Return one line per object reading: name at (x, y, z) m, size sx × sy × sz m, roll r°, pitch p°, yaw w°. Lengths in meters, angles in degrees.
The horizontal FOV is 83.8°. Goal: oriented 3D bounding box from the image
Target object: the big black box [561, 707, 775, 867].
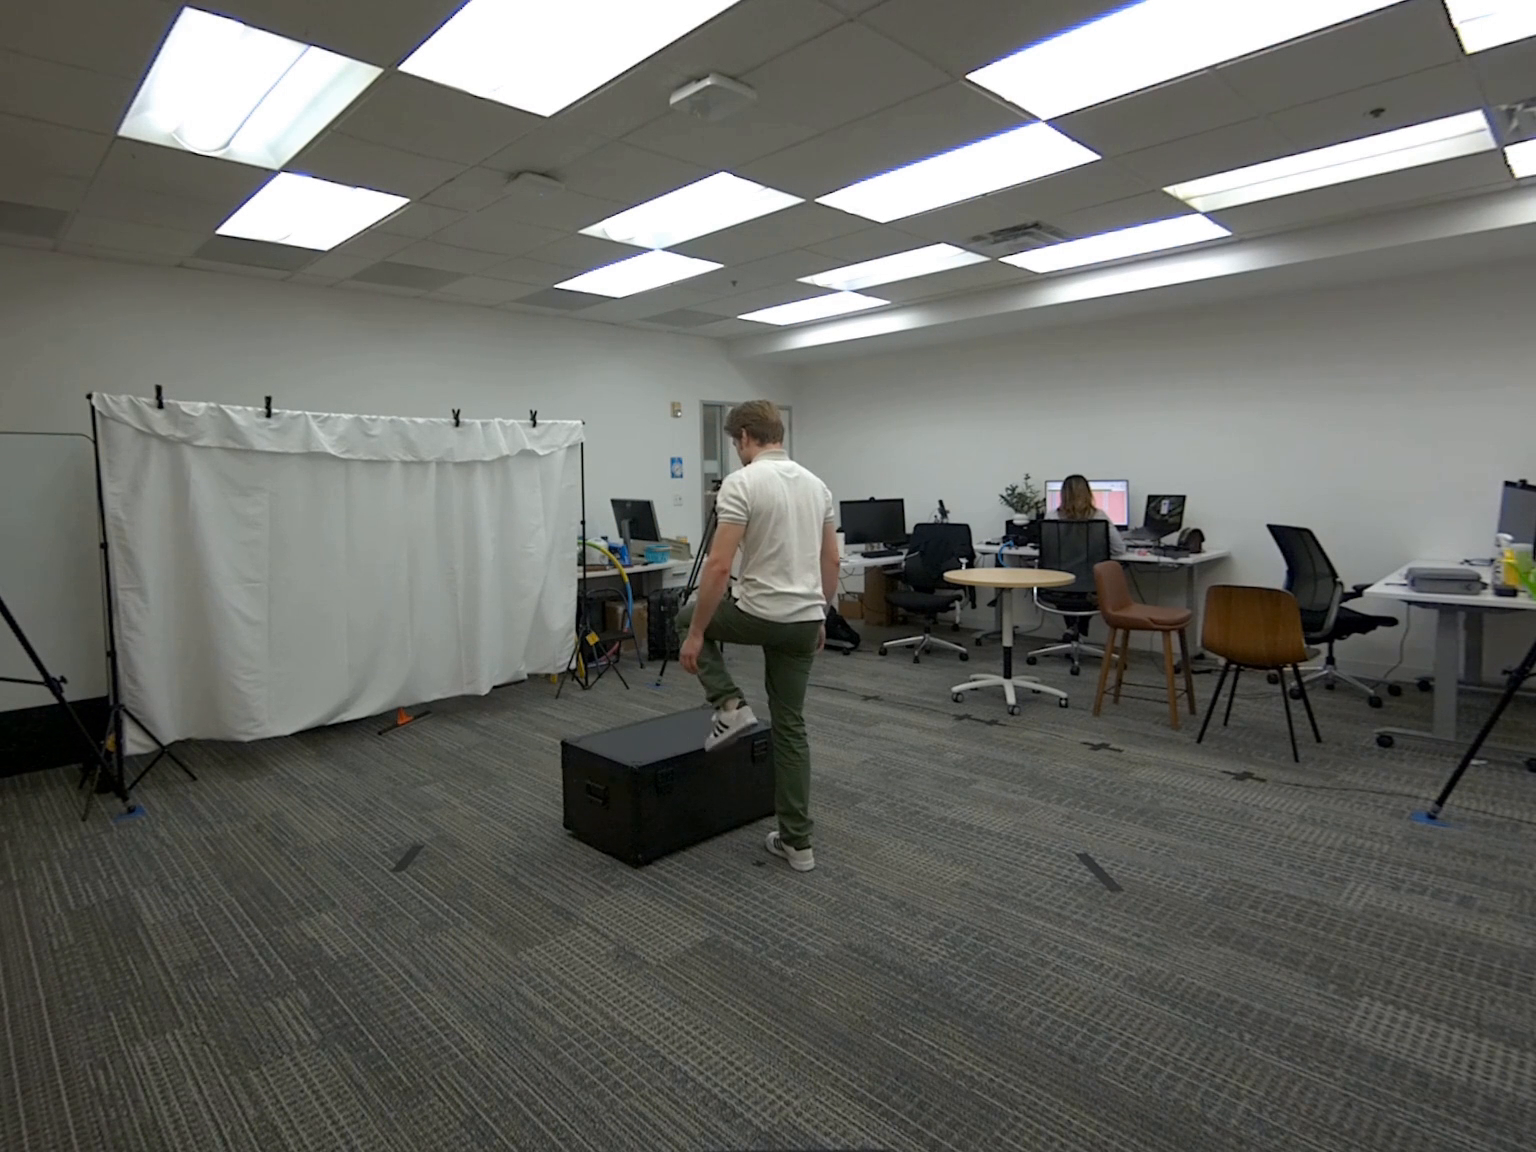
big black box at (-0.346, 0.815, 3.506) m, size 0.845 × 0.384 × 0.539 m, roll -6°, pitch 6°, yaw -44°
